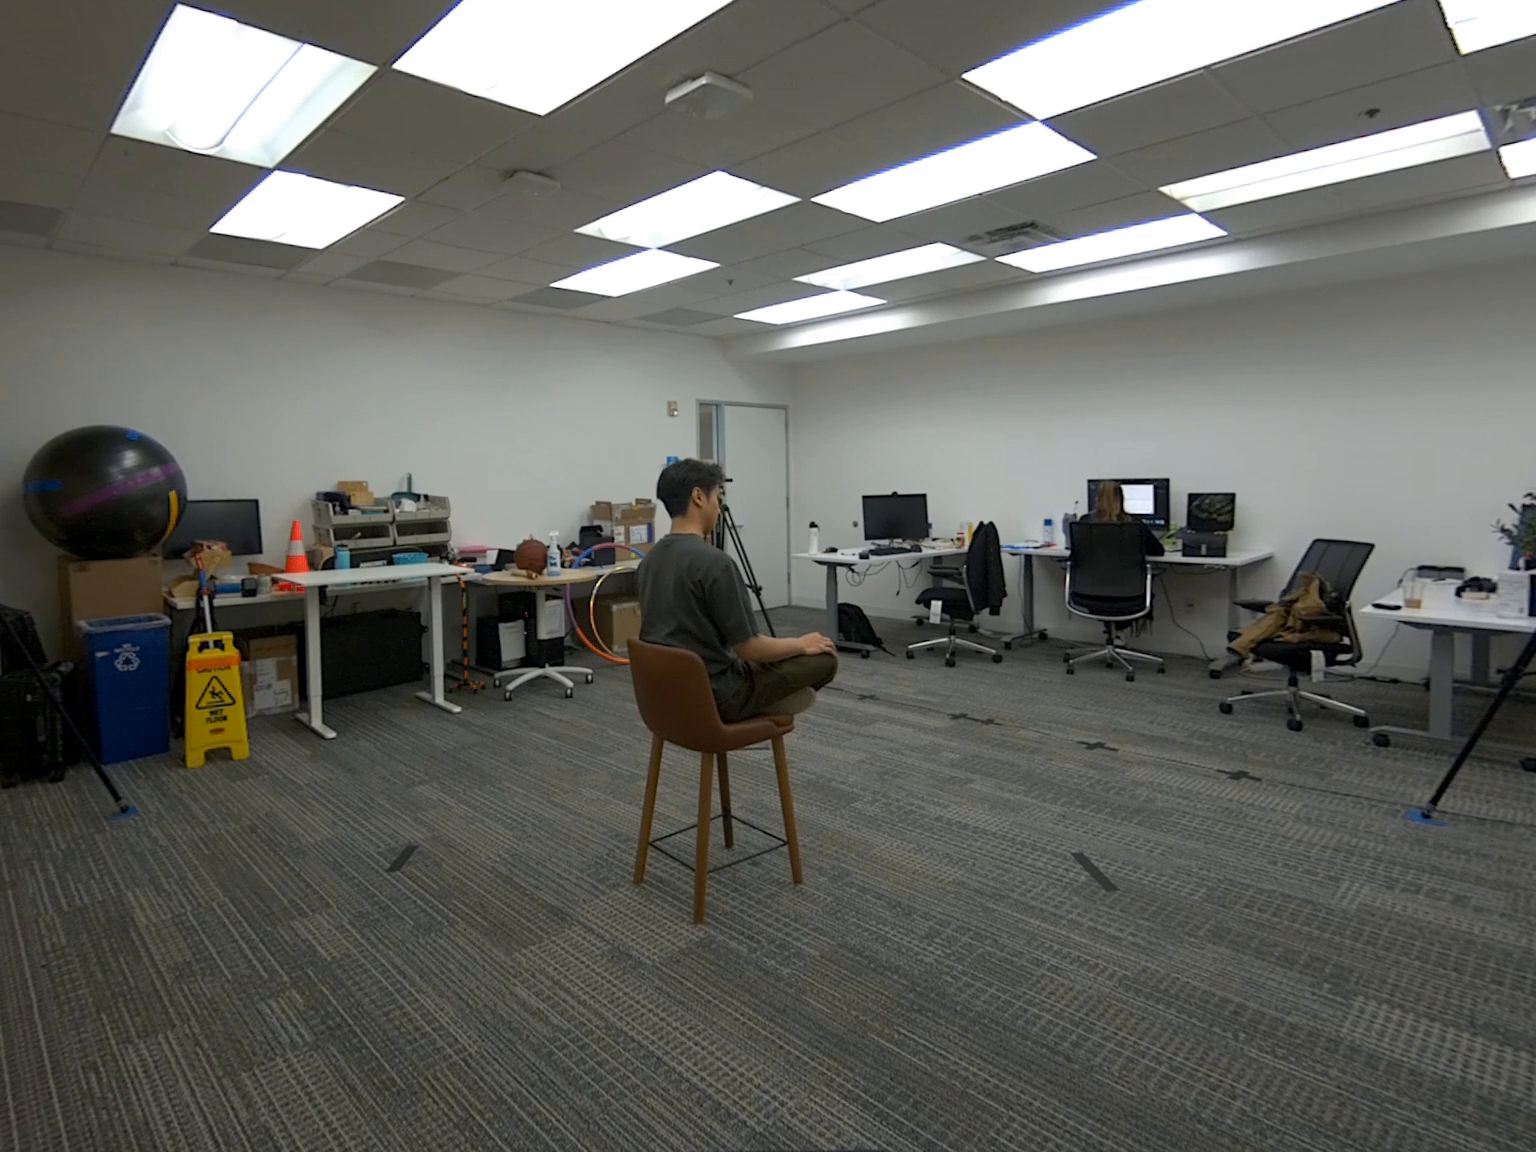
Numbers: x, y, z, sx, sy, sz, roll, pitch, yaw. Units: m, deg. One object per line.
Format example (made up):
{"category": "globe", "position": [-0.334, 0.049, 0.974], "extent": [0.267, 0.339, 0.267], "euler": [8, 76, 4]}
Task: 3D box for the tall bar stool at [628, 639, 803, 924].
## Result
{"category": "tall bar stool", "position": [-0.193, 0.631, 2.935], "extent": [0.456, 0.885, 0.470], "euler": [-8, 8, -40]}
